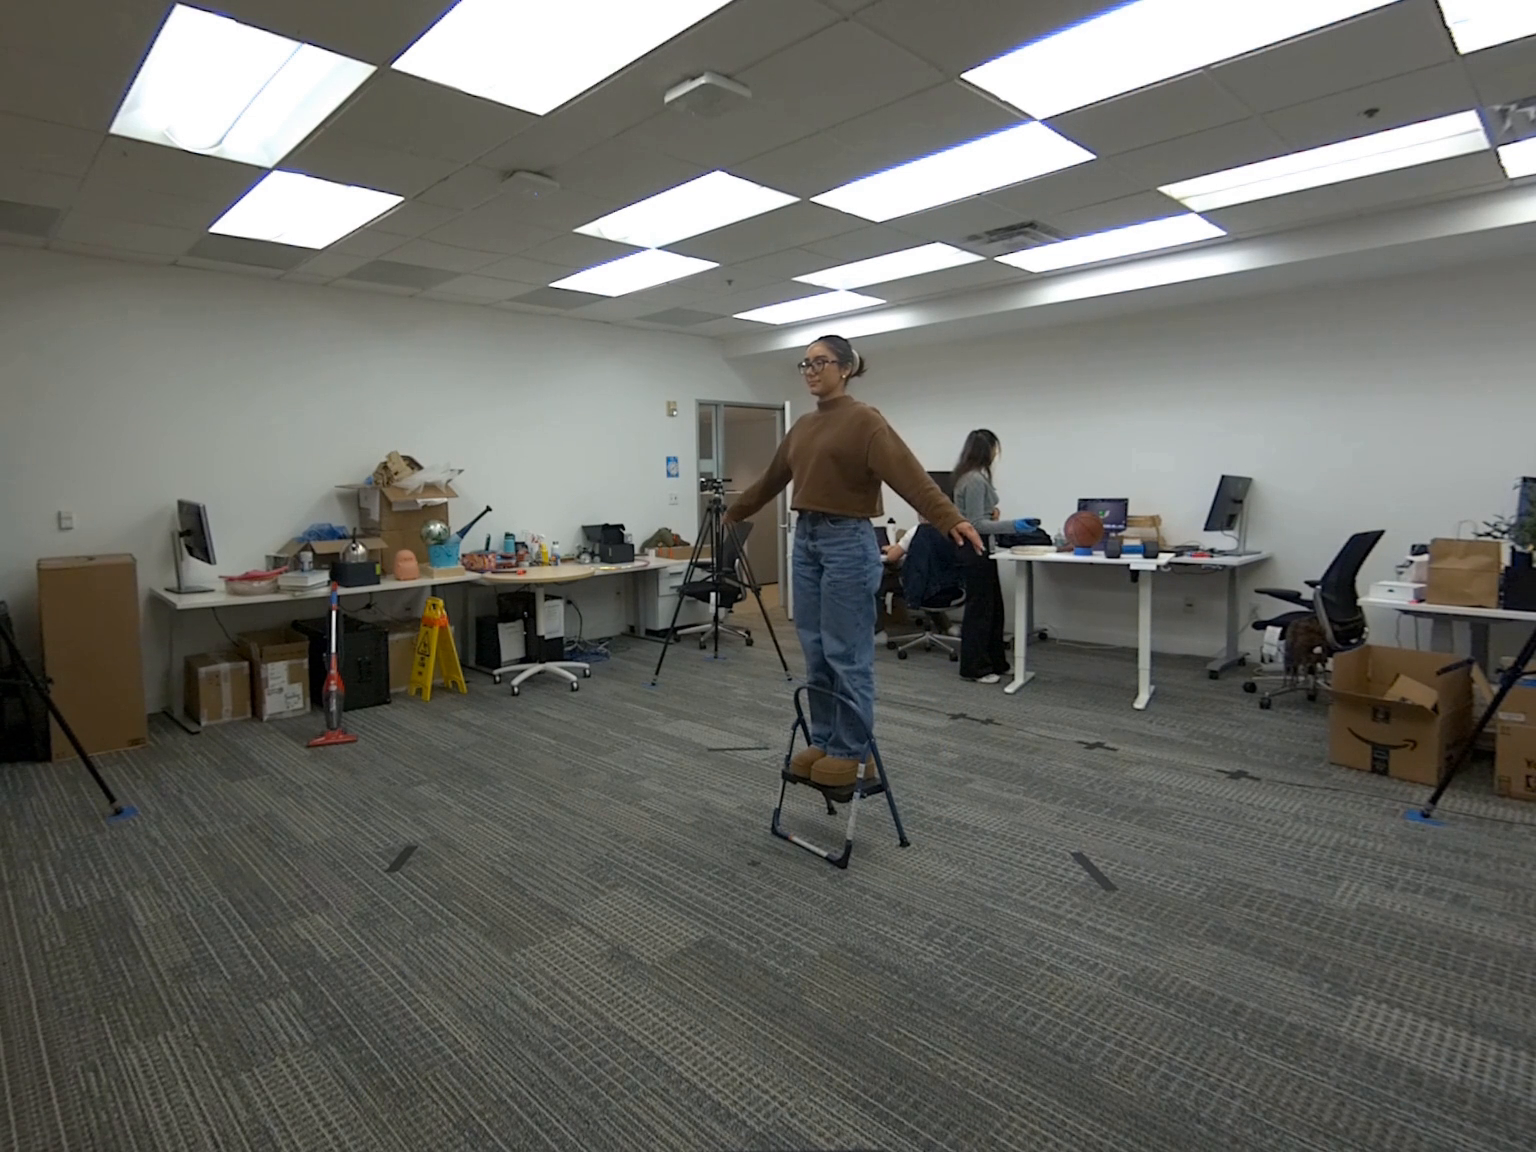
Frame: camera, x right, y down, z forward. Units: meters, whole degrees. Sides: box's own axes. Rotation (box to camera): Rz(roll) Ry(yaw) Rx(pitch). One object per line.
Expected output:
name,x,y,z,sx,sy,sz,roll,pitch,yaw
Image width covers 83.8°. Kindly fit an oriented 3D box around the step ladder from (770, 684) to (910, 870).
step ladder,0.266,0.717,3.286,0.340,0.604,0.444,-5,6,-39
